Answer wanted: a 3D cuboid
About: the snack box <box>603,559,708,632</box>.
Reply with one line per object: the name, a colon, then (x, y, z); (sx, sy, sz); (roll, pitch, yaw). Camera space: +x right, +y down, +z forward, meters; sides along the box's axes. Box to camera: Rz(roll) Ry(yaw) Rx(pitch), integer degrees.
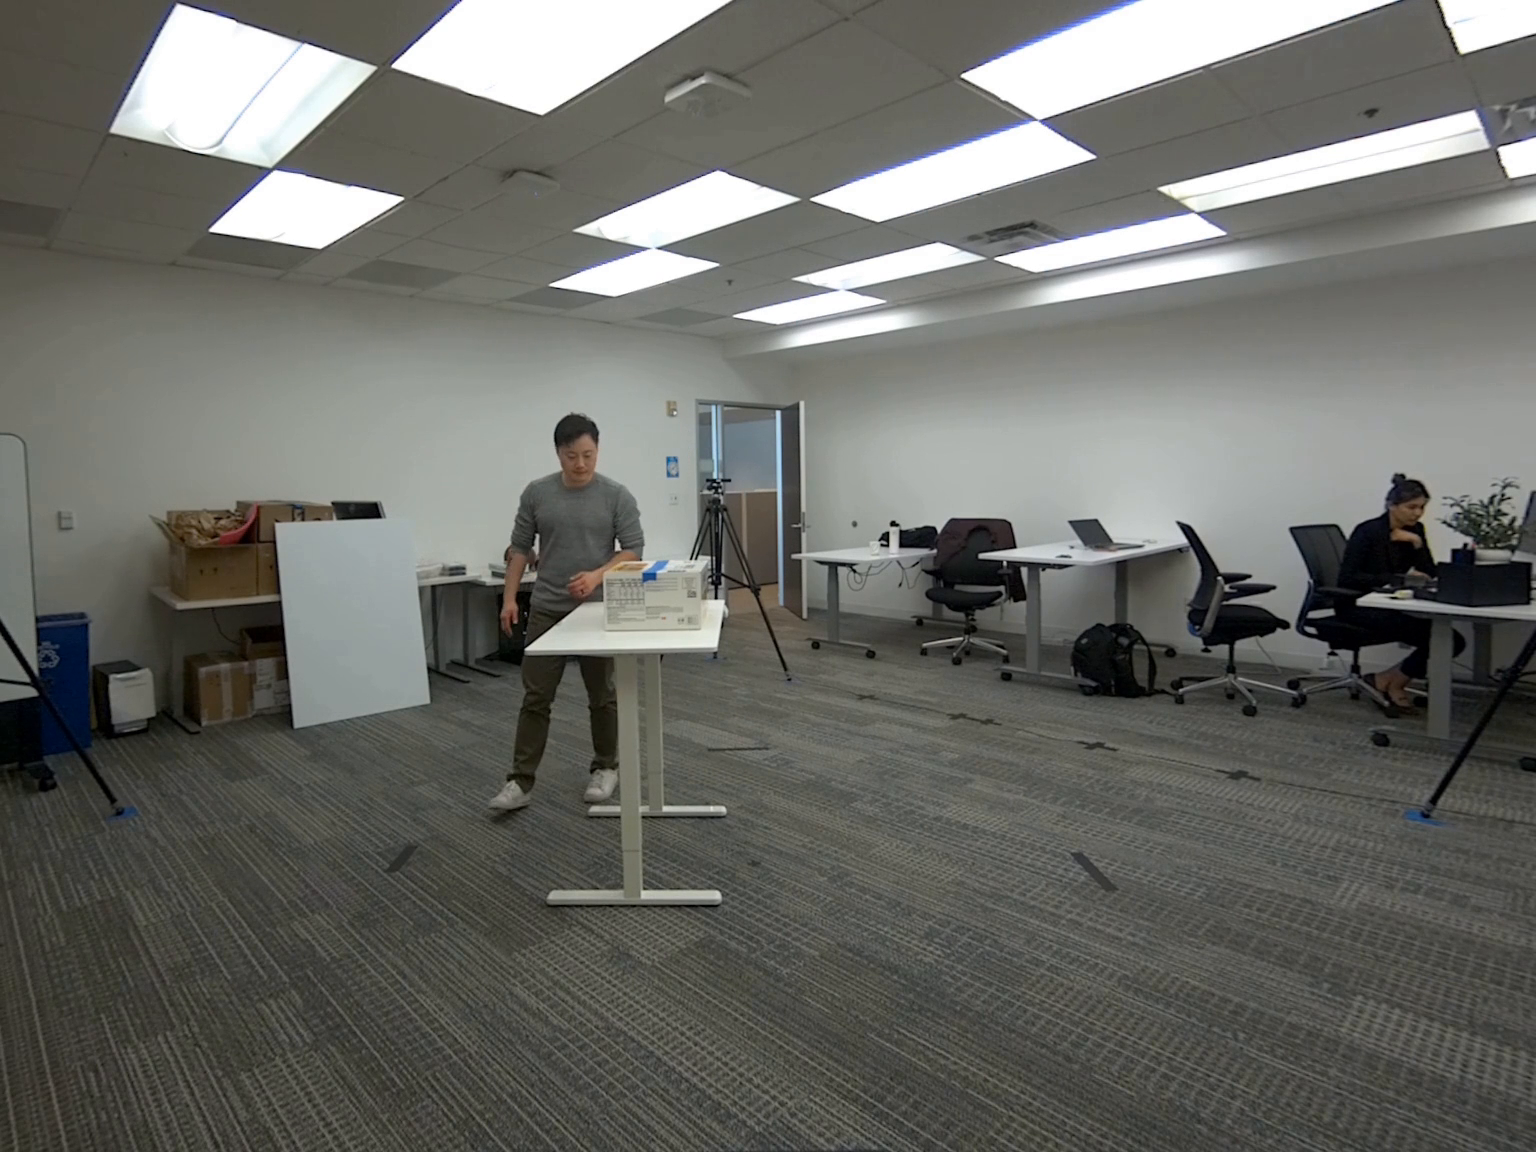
snack box: (-0.404, 0.065, 3.142); (0.341, 0.205, 0.406); (-2, 6, 2)
